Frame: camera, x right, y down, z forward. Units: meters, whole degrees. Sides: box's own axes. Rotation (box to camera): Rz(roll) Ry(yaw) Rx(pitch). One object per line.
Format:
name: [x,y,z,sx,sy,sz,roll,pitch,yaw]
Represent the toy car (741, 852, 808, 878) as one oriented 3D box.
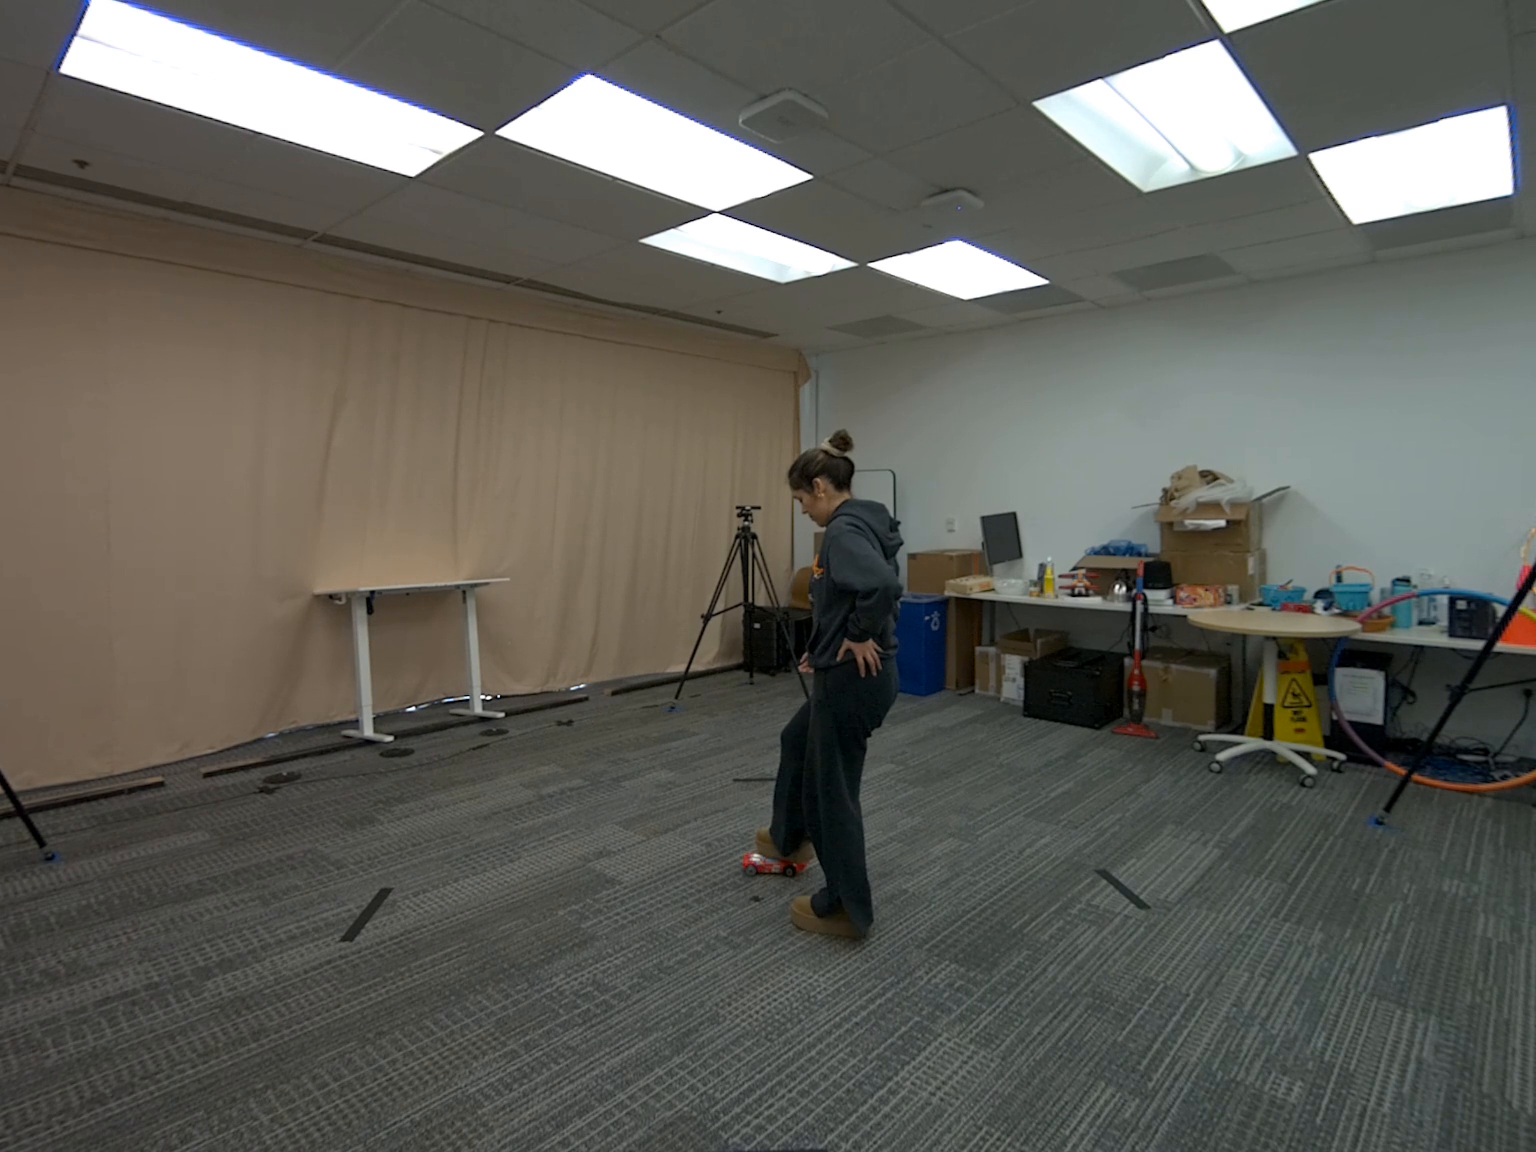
toy car: [0.062,1.093,3.208,0.256,0.083,0.130,-11,4,7]
